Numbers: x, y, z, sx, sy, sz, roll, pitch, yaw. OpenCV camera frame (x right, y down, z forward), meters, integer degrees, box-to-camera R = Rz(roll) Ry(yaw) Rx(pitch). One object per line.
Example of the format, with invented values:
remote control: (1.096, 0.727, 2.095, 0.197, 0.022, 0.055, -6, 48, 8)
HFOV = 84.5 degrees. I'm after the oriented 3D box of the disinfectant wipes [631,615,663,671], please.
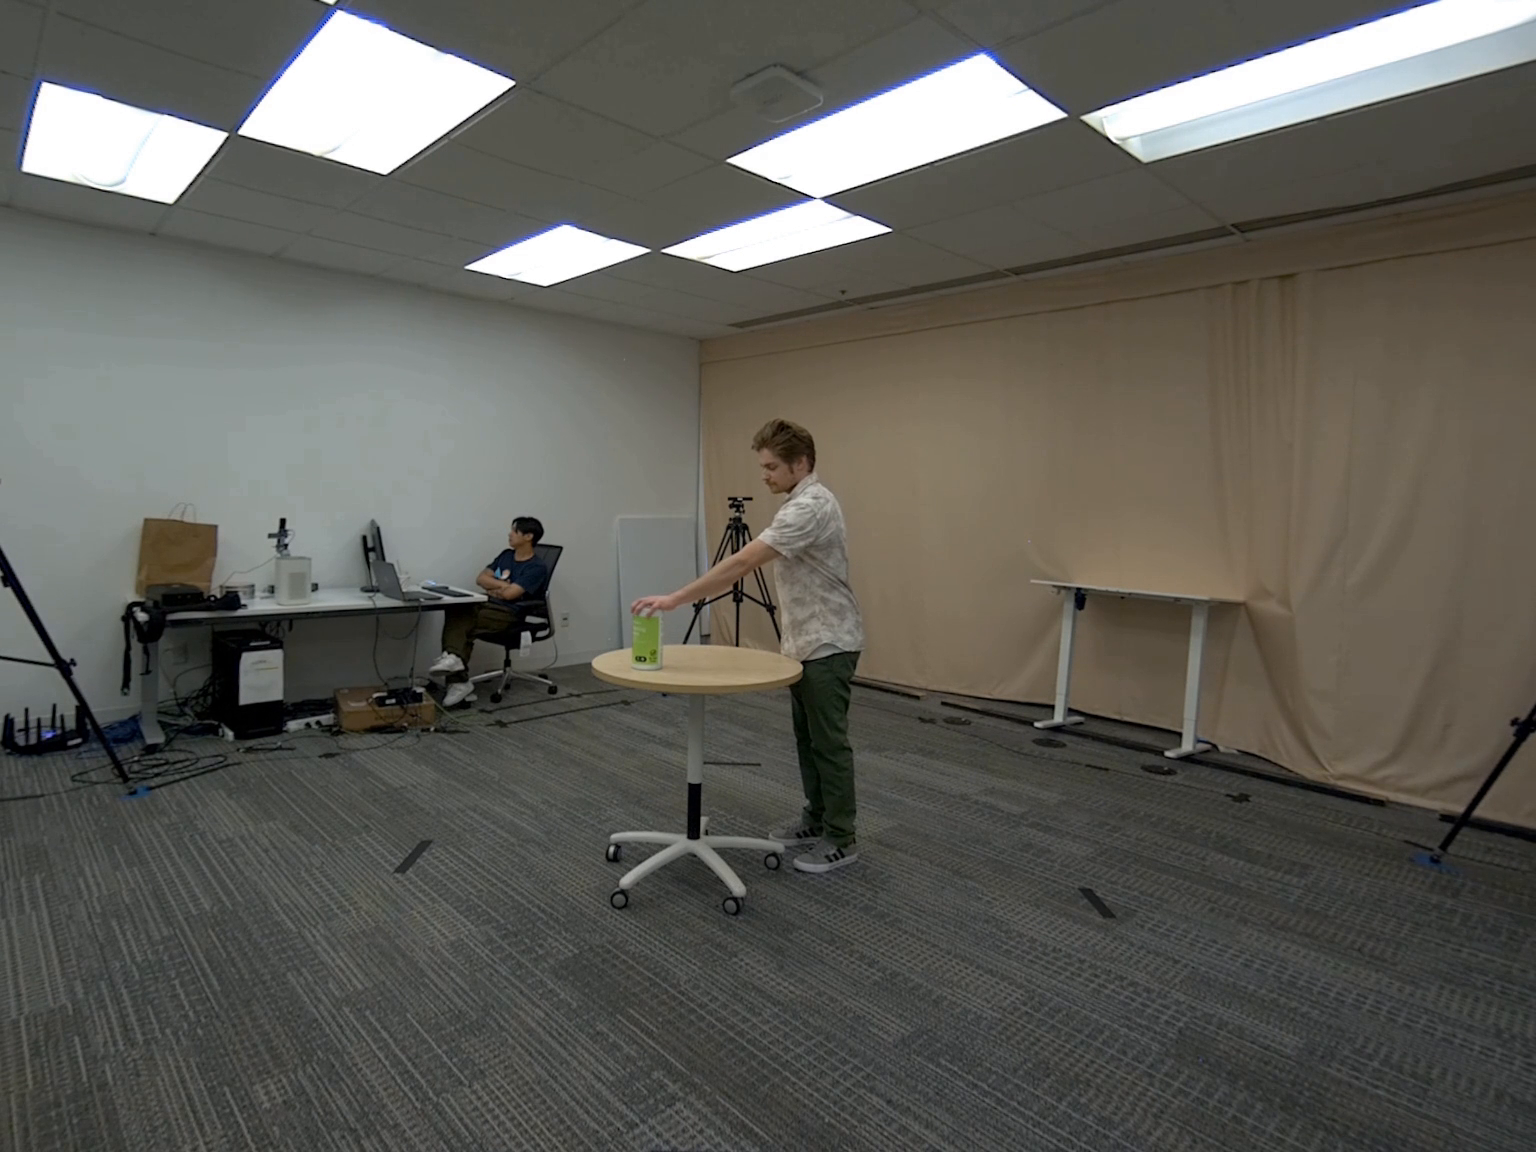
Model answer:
disinfectant wipes: (-0.425, 0.216, 2.946, 0.118, 0.217, 0.118, 1, 5, -1)
